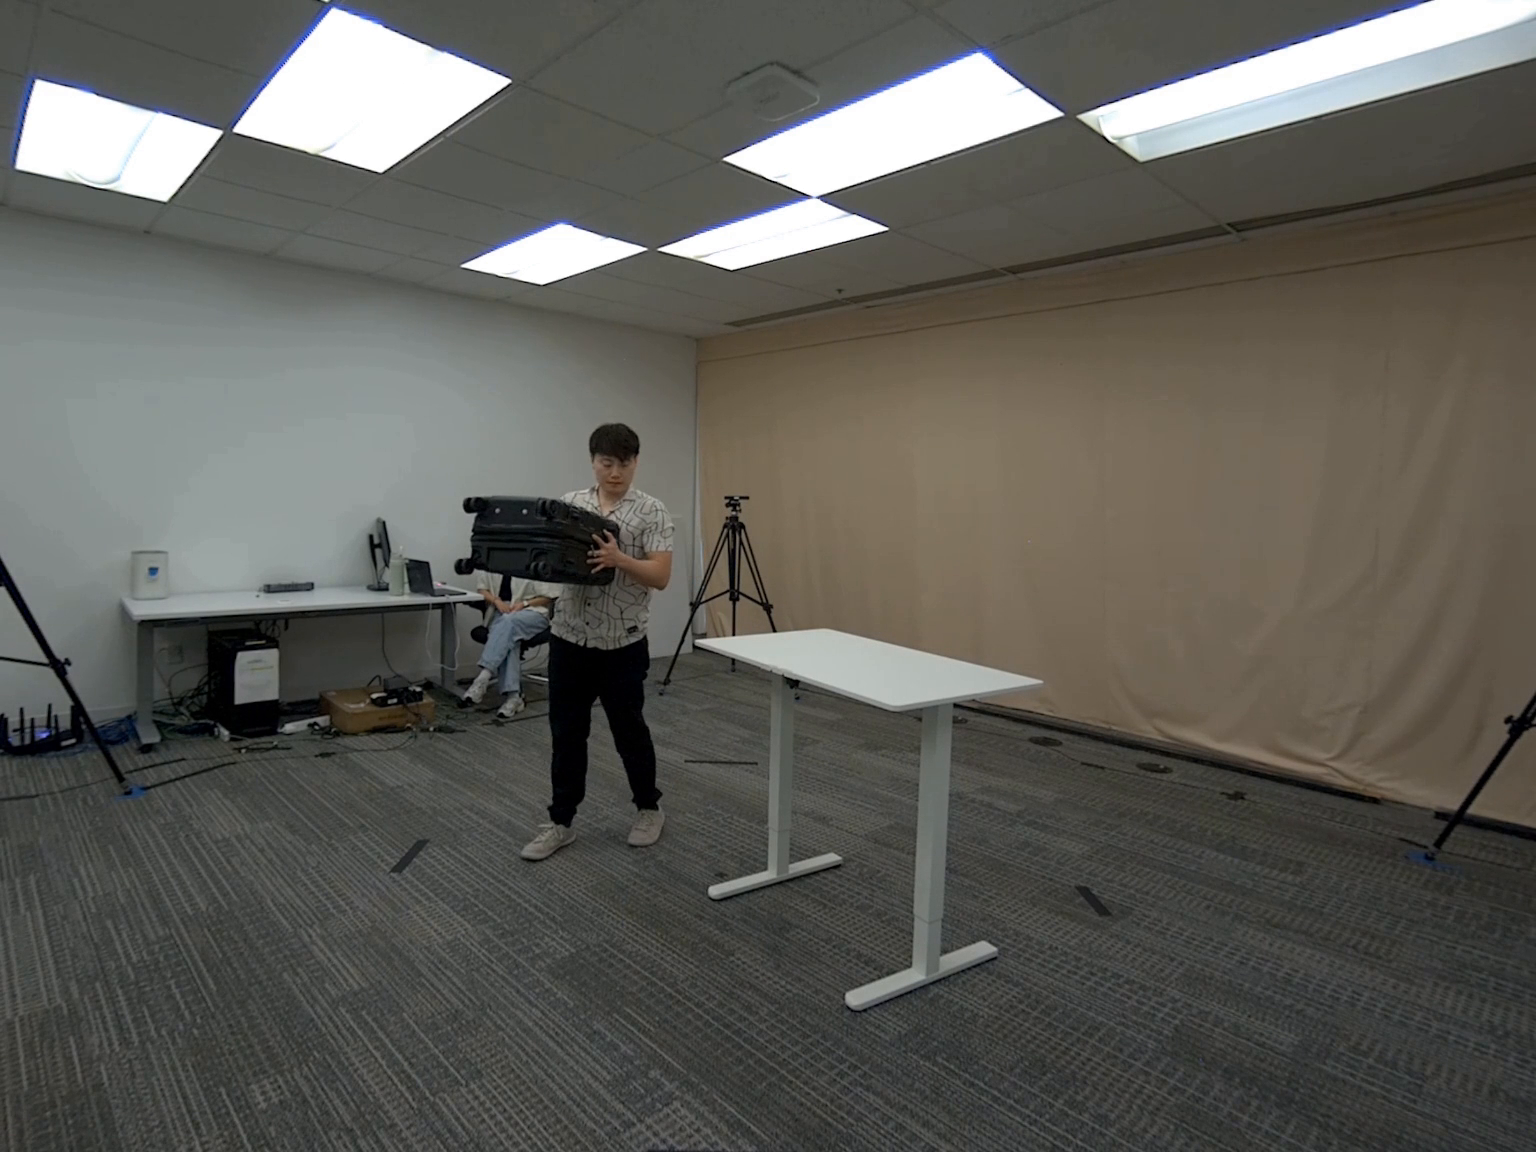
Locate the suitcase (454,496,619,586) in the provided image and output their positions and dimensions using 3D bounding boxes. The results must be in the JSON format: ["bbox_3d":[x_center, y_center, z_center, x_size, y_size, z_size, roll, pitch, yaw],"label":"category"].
[{"bbox_3d":[-0.797,-0.114,2.973,0.381,0.249,0.539,5,-4,19],"label":"suitcase"}]
